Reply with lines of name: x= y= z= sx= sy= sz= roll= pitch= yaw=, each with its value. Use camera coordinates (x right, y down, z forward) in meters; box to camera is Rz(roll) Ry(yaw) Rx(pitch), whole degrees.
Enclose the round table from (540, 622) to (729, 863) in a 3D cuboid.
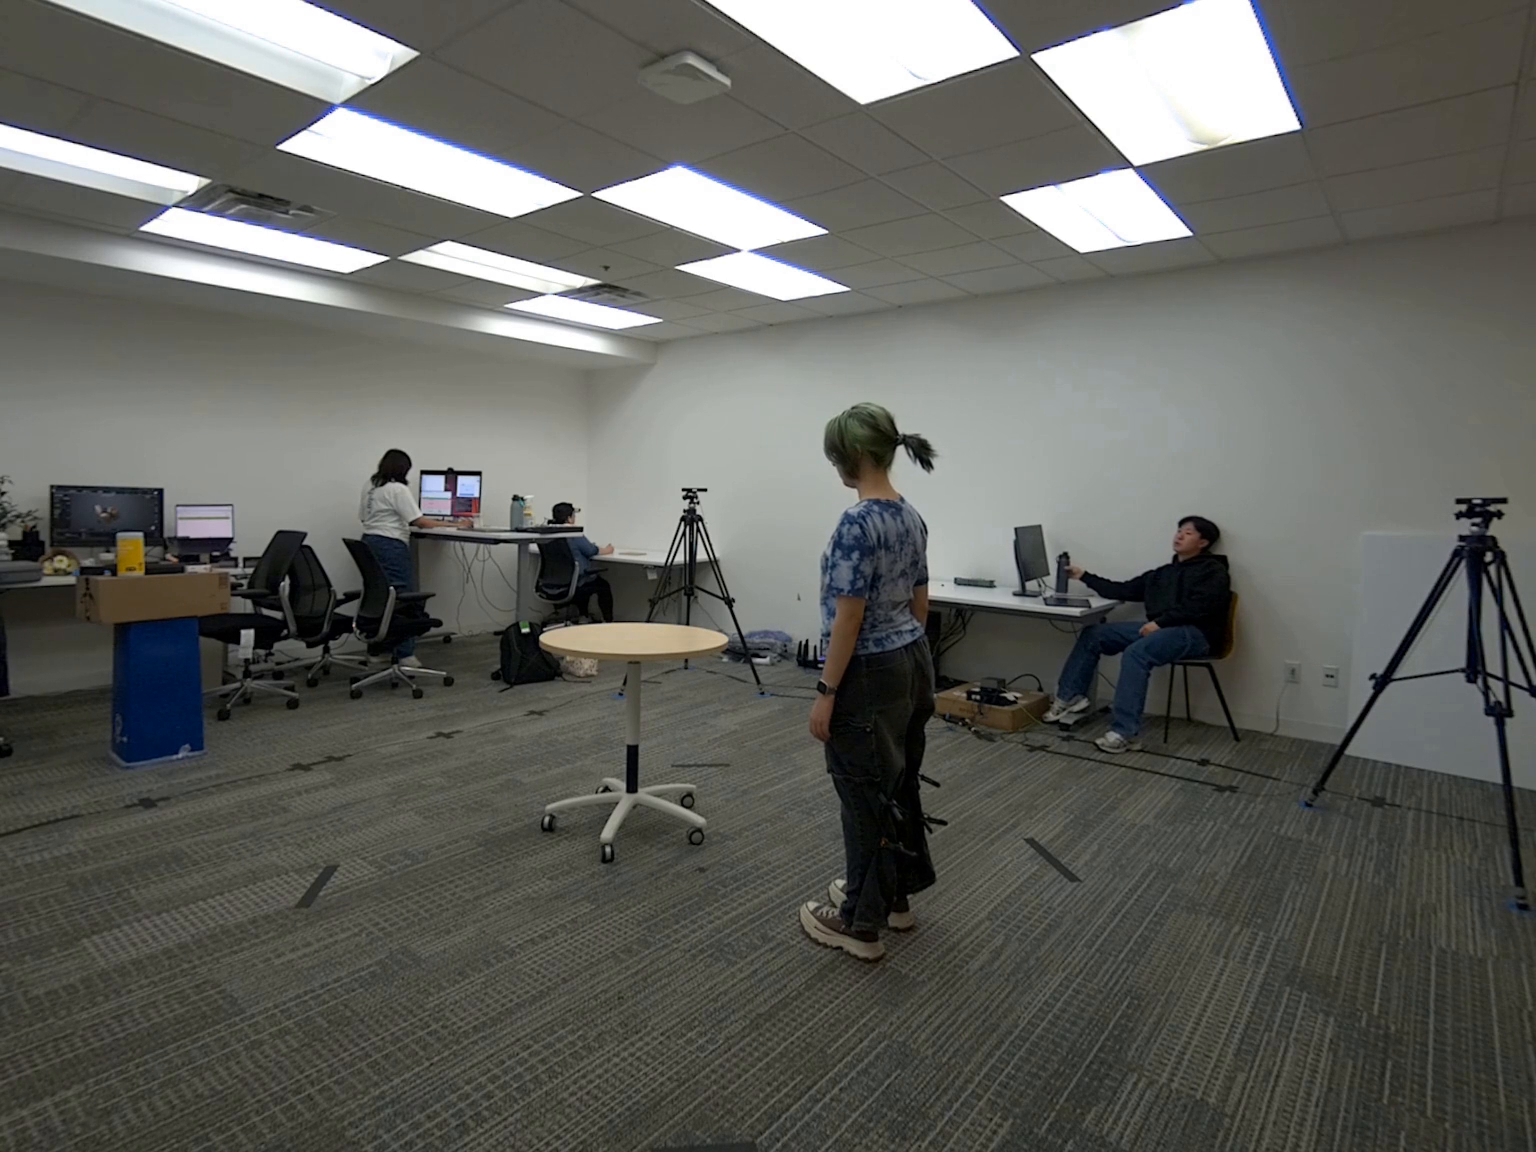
round table: x=-0.568 y=0.639 z=3.490 sx=0.763 sy=0.792 sz=0.767 roll=1 pitch=4 yaw=-2
